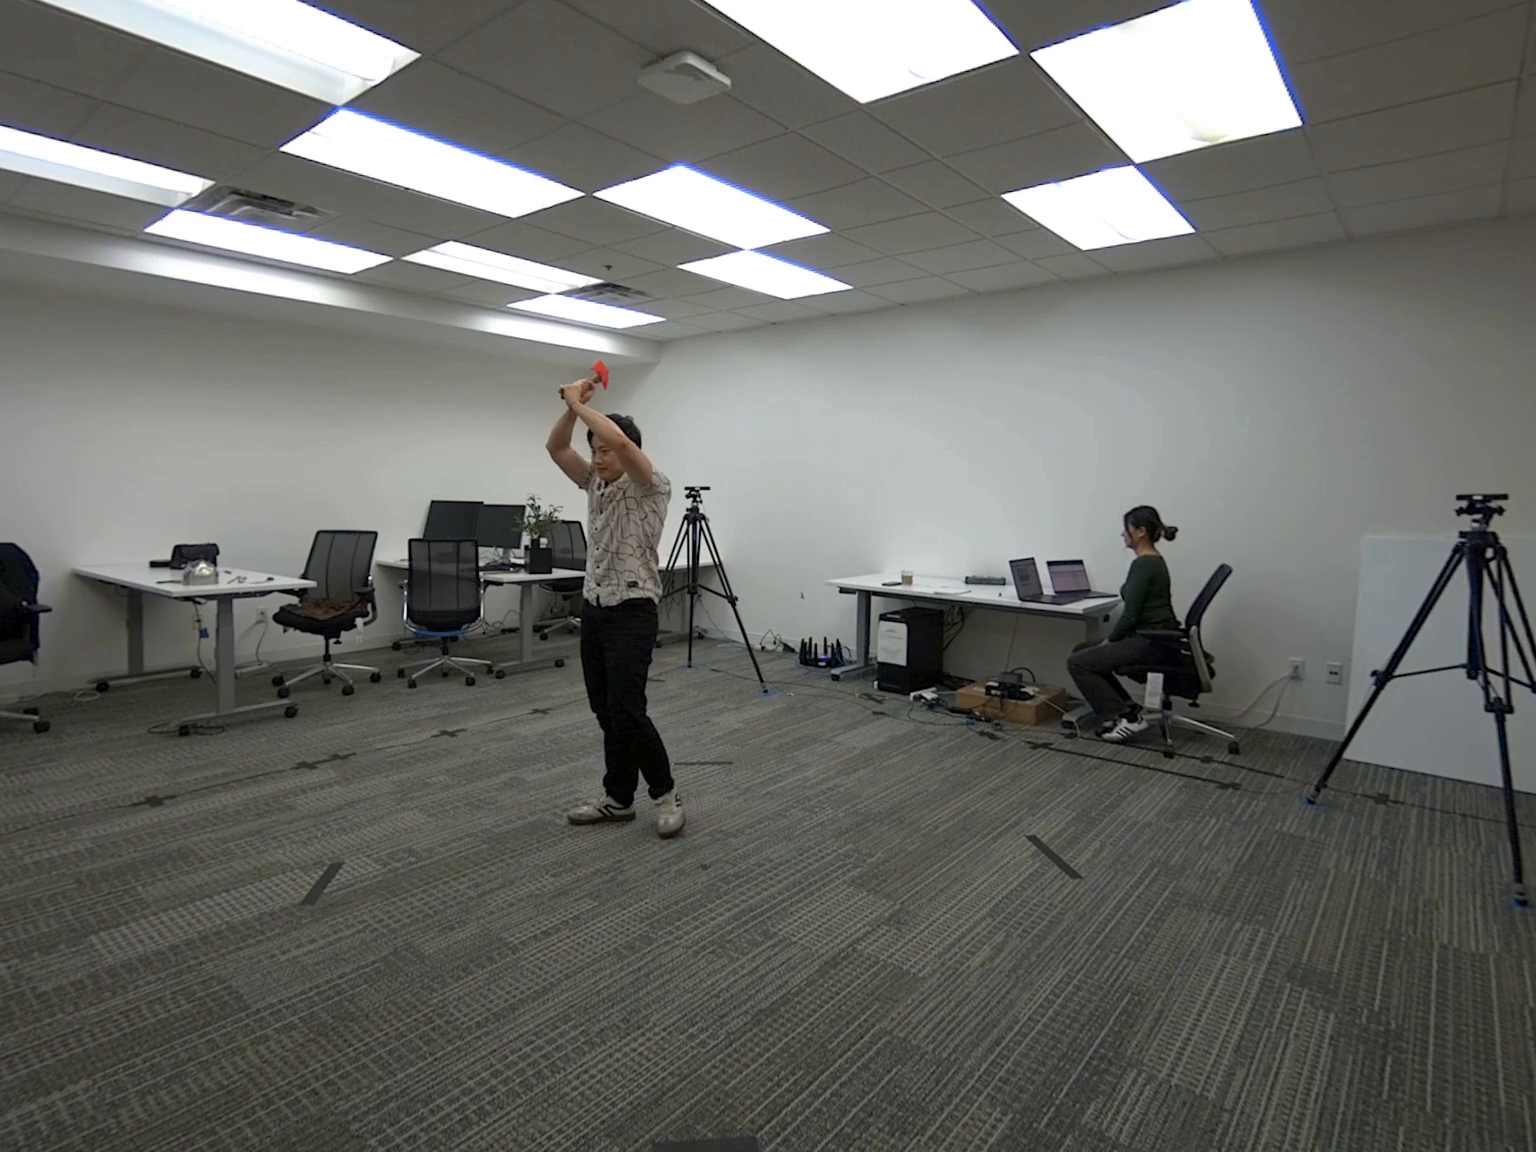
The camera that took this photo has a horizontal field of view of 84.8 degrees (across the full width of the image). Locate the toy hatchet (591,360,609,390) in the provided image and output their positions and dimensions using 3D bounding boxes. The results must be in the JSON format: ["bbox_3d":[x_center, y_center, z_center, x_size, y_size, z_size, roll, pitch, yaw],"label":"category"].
[{"bbox_3d":[-0.725,-0.780,3.312,0.030,0.129,0.266,21,28,25],"label":"toy hatchet"}]
